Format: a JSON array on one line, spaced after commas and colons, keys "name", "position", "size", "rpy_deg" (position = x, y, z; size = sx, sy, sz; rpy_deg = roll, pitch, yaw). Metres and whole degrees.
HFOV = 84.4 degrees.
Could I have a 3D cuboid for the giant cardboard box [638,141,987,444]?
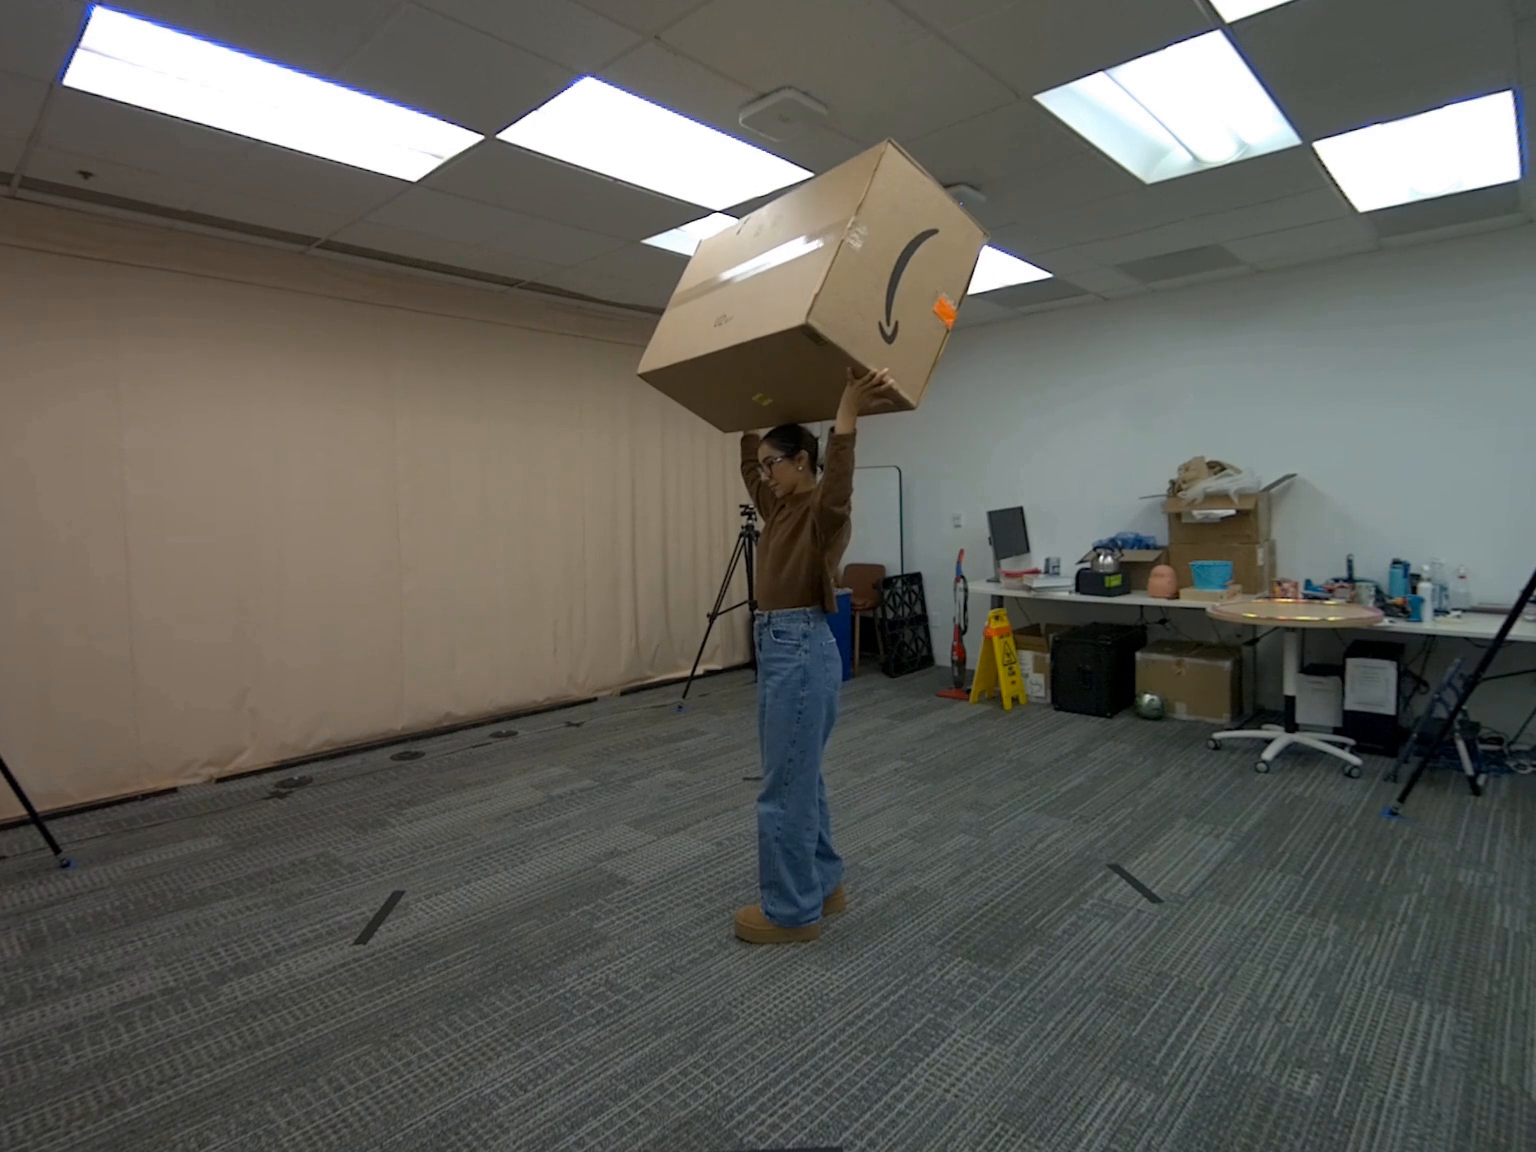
[{"name": "giant cardboard box", "position": [0.087, -0.834, 2.681], "size": [0.413, 0.578, 1.057], "rpy_deg": [30, -12, -31]}]
